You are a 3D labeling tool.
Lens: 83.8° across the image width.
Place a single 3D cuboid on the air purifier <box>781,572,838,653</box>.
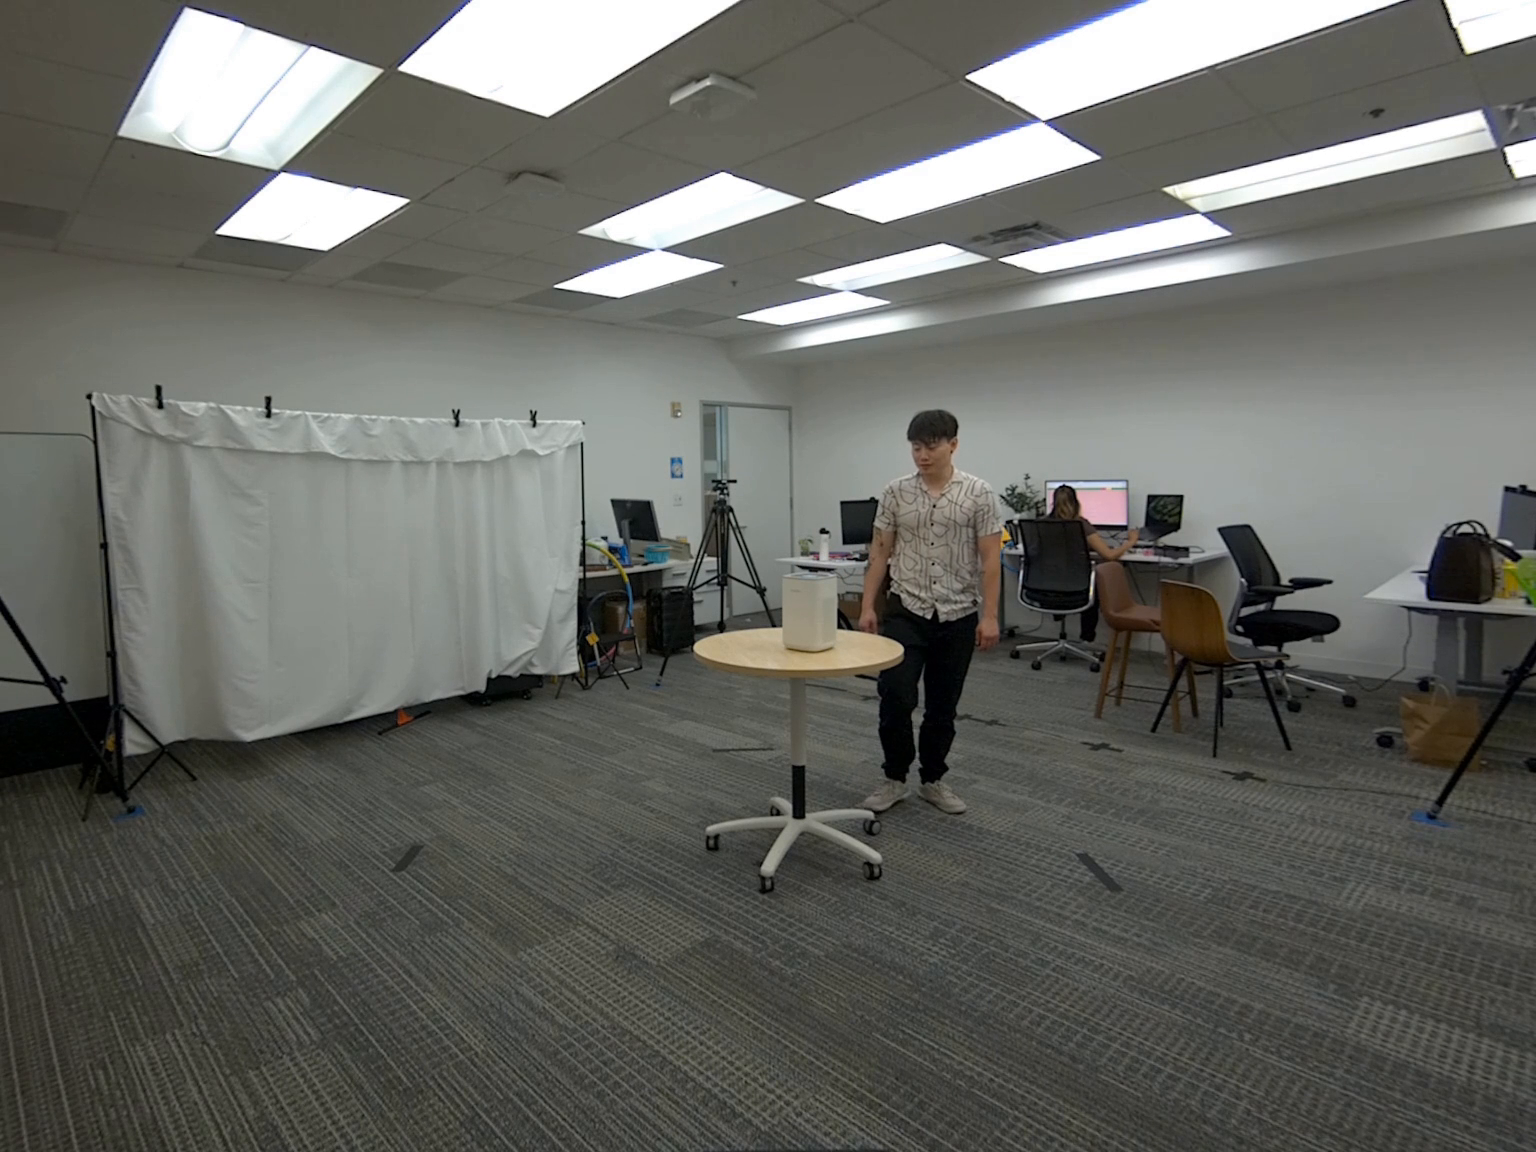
[{"bbox_3d":[0.153,0.129,3.093,0.176,0.264,0.167,2,6,36],"label":"air purifier"}]
